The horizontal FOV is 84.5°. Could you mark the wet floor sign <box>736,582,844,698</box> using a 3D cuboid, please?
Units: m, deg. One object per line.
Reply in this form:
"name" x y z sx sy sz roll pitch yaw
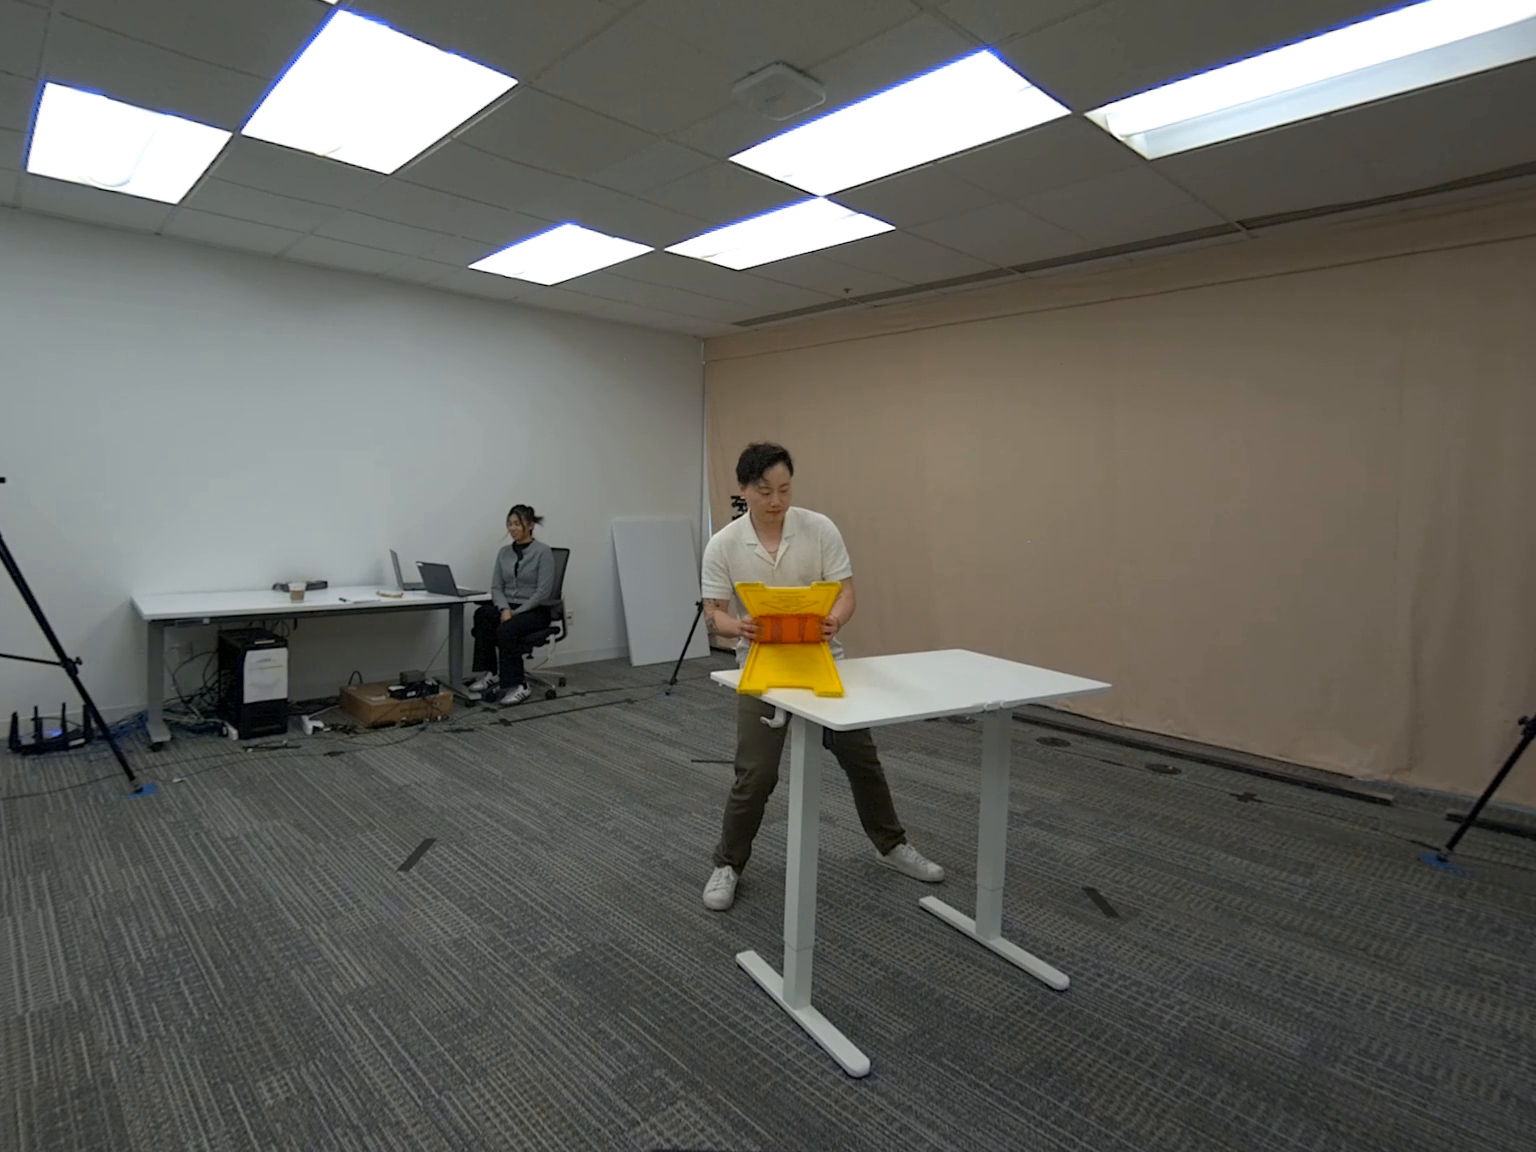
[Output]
"wet floor sign" 0.054 0.170 2.489 0.282 0.290 0.644 0 -1 0
